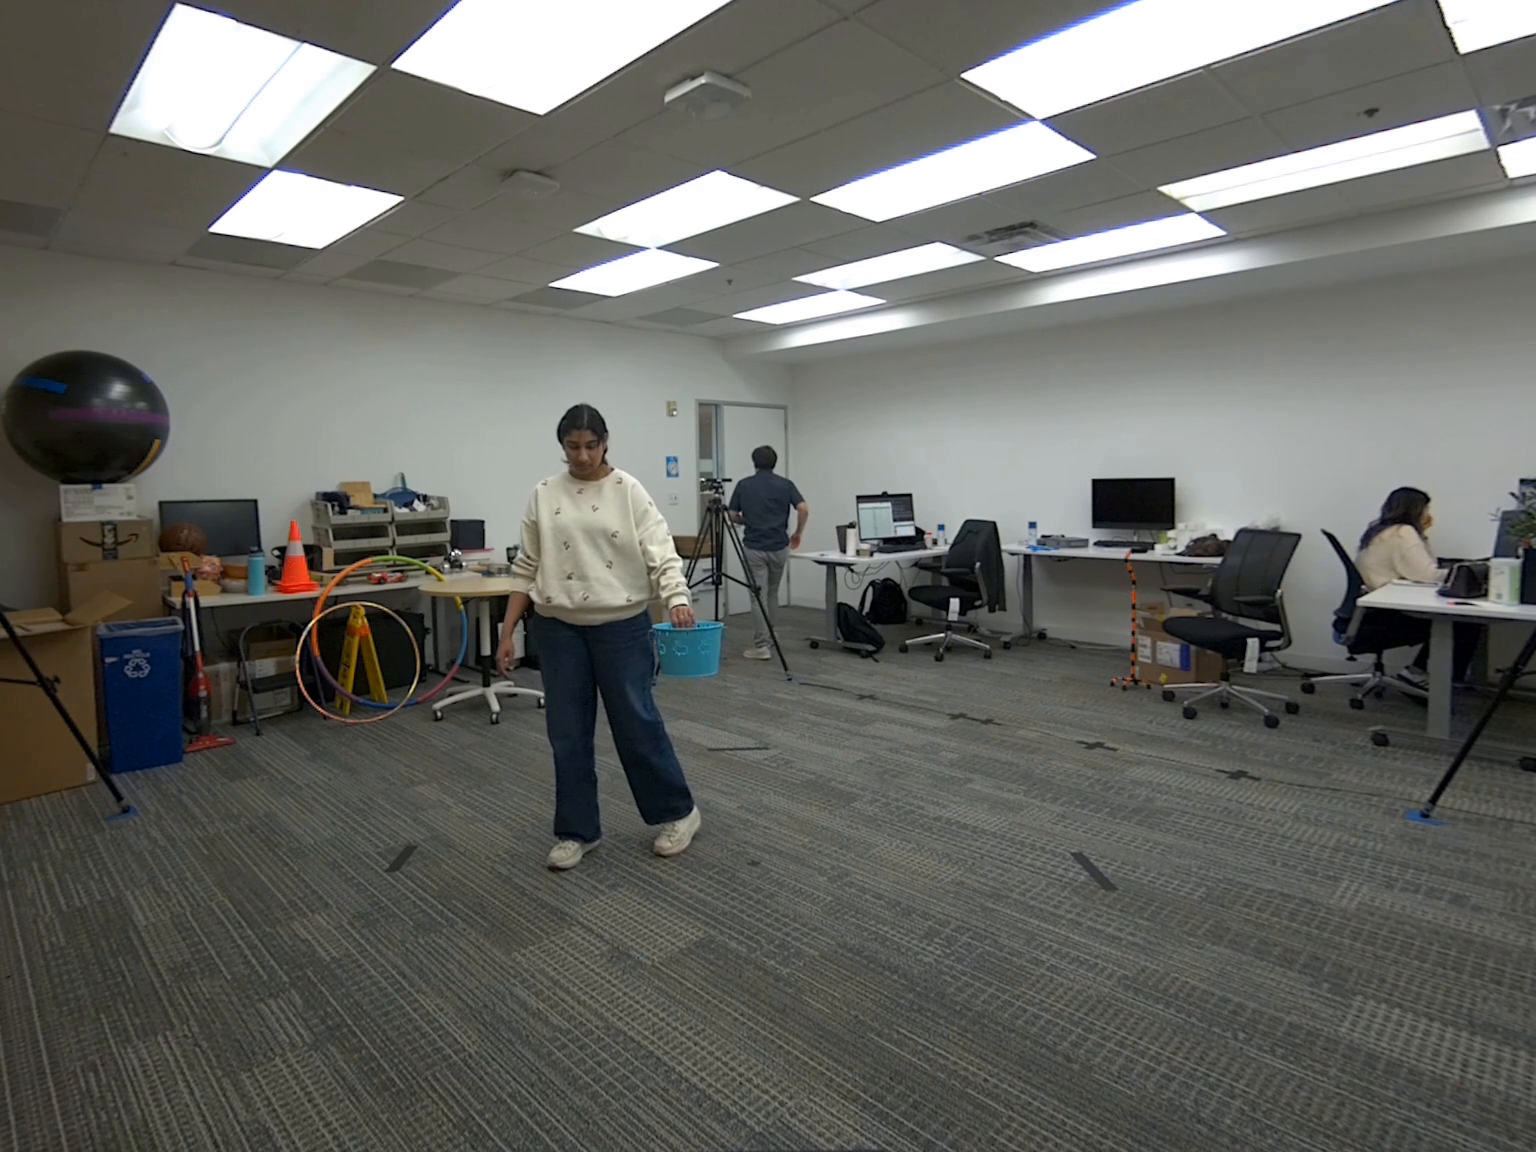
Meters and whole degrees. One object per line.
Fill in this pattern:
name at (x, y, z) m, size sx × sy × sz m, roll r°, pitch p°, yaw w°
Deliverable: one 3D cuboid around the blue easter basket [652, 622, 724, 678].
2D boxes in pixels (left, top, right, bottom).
blue easter basket at (-0.246, 0.247, 2.736) m, size 0.243 × 0.155 × 0.244 m, roll 0°, pitch 4°, yaw -2°
